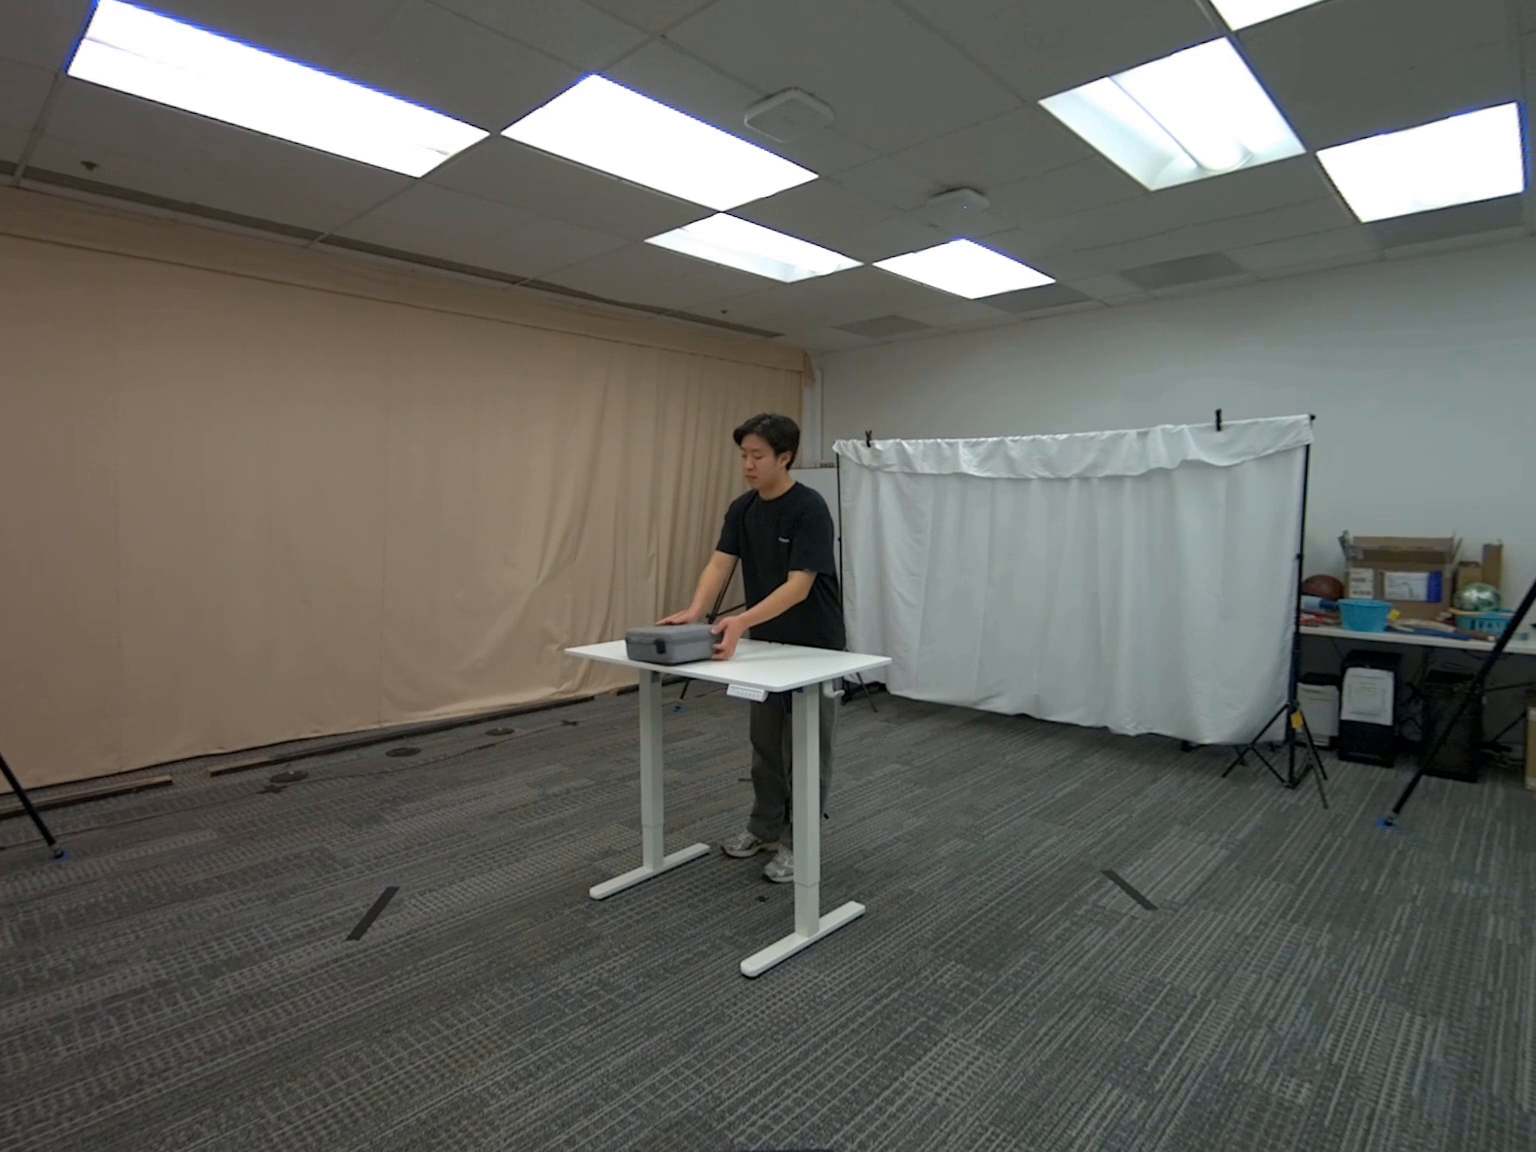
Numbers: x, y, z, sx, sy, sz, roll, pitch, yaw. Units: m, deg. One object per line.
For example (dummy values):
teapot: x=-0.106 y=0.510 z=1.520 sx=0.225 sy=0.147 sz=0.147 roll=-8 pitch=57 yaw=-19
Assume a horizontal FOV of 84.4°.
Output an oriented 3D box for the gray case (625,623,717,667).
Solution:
gray case: x=-0.315 y=0.217 z=2.803 sx=0.253 sy=0.104 sz=0.265 roll=-4 pitch=1 yaw=-42
